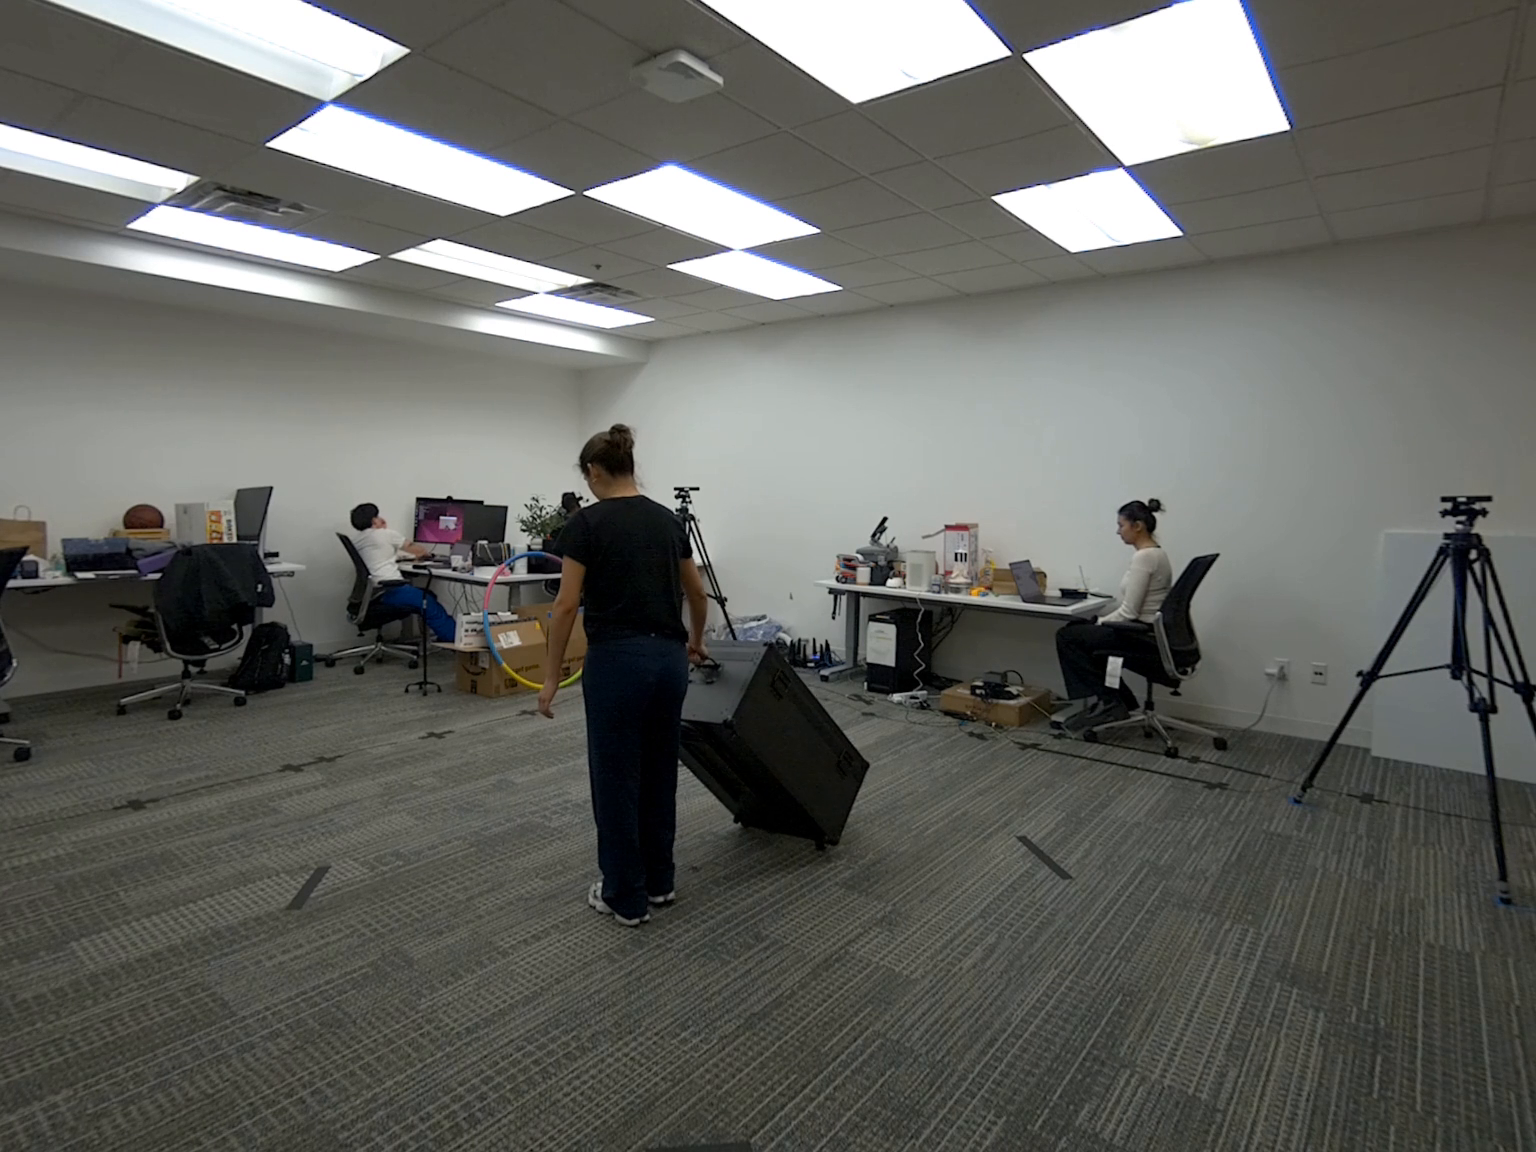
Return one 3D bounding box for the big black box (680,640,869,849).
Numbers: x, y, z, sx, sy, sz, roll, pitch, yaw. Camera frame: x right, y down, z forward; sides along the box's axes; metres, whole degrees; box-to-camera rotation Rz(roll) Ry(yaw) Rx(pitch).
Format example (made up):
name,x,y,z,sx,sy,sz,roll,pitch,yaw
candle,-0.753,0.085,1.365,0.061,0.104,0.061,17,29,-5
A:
name,x,y,z,sx,sy,sz,roll,pitch,yaw
big black box,-0.046,0.616,3.257,0.536,0.832,0.399,-4,42,44
